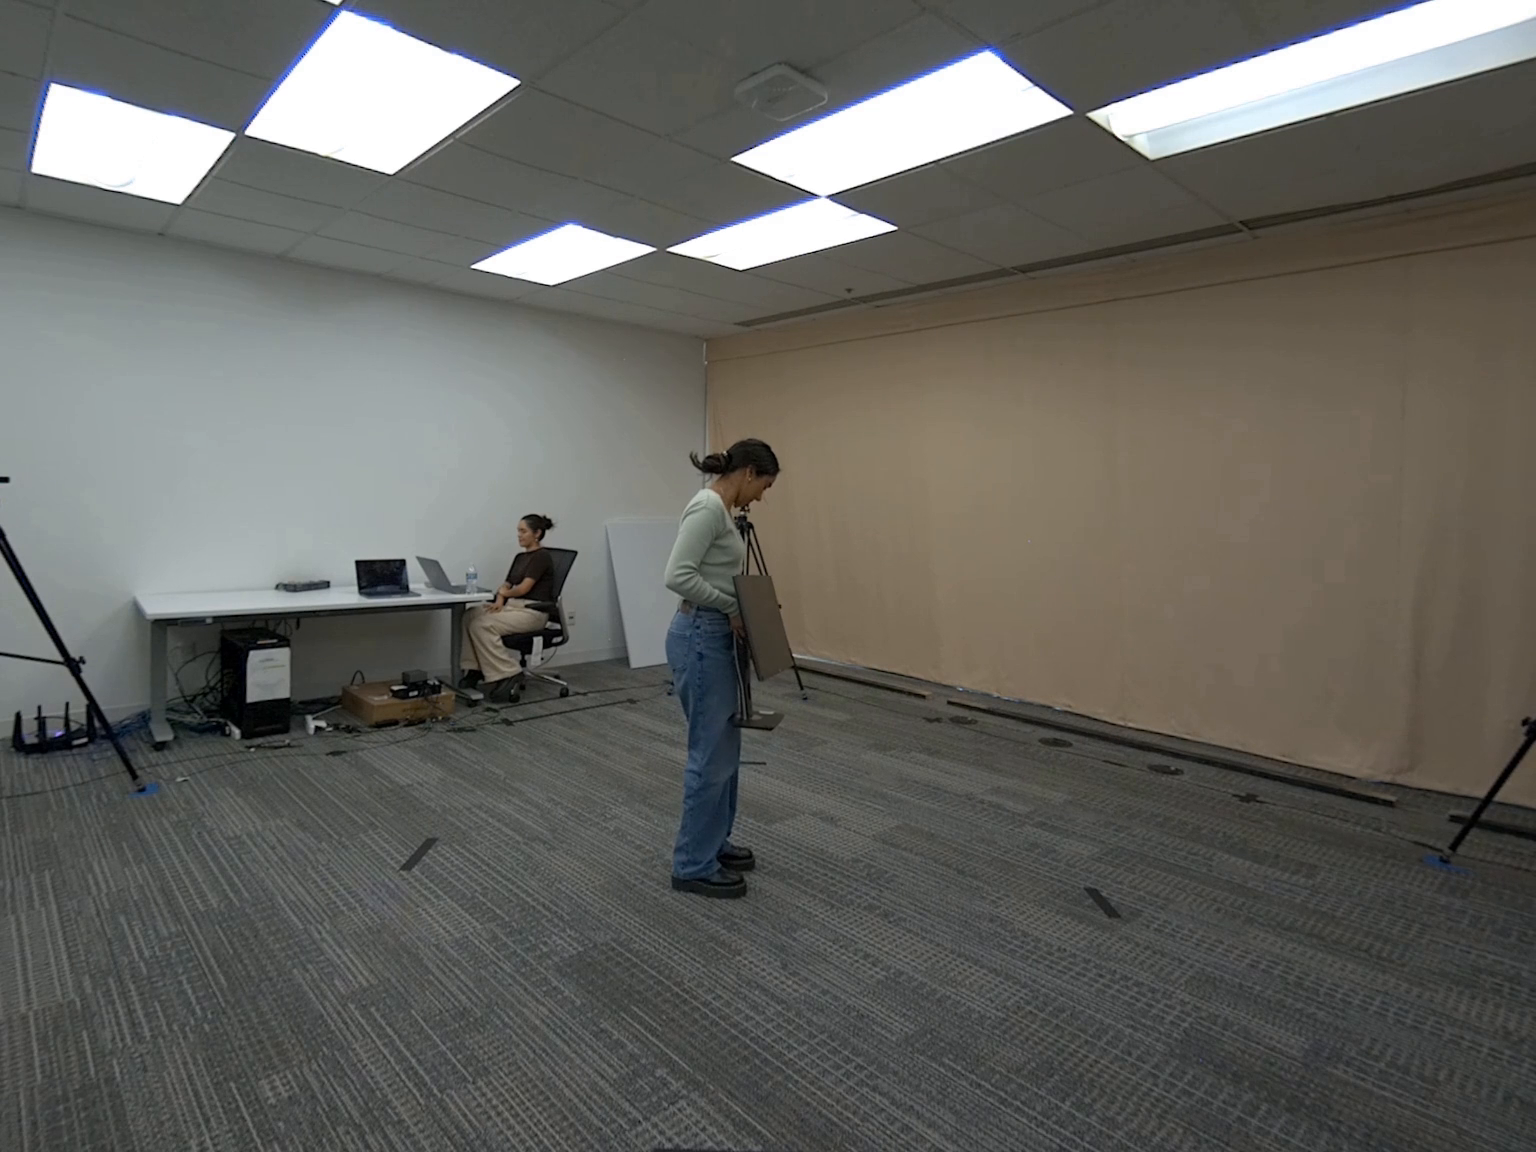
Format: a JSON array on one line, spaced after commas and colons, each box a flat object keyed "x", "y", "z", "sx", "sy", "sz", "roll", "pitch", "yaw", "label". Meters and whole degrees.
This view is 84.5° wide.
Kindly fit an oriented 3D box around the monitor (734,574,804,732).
[{"x": -0.044, "y": 0.247, "z": 2.947, "sx": 0.176, "sy": 0.516, "sz": 0.524, "roll": 5, "pitch": 0, "yaw": 11, "label": "monitor"}]
